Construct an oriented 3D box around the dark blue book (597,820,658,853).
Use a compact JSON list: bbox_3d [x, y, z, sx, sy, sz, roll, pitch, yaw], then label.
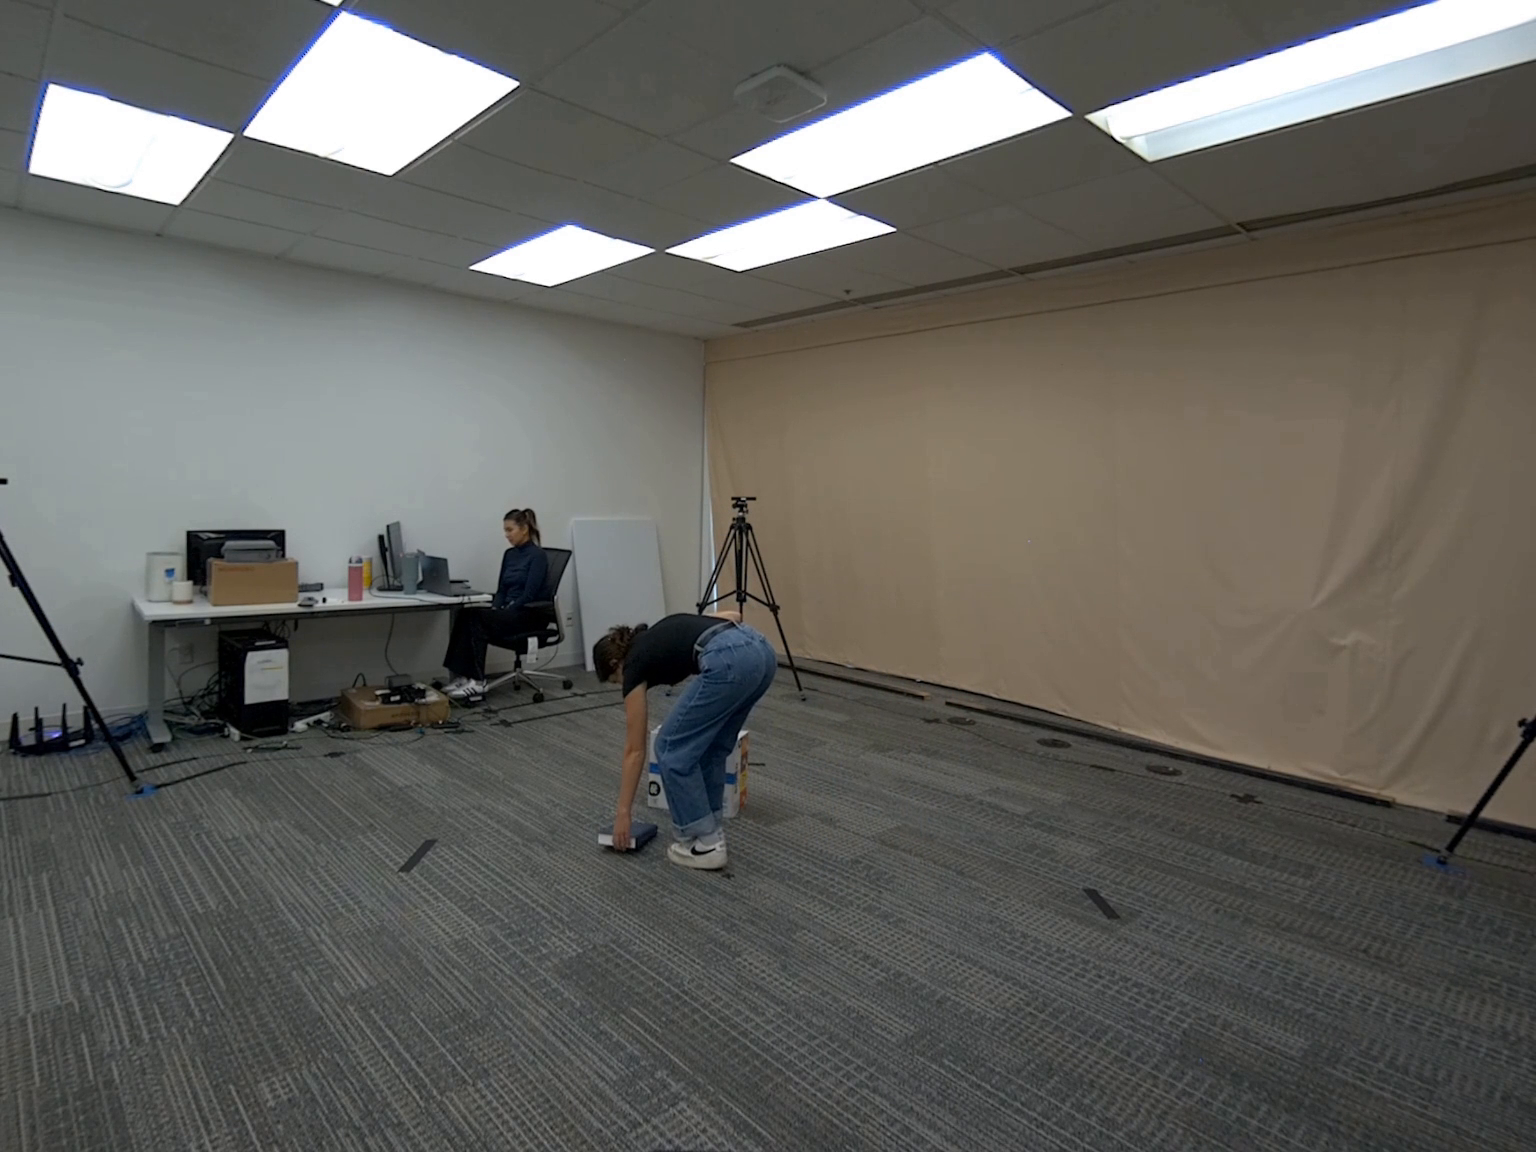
[{"bbox_3d":[-0.565,1.028,3.378,0.165,0.045,0.242,2,-2,13],"label":"dark blue book"}]
